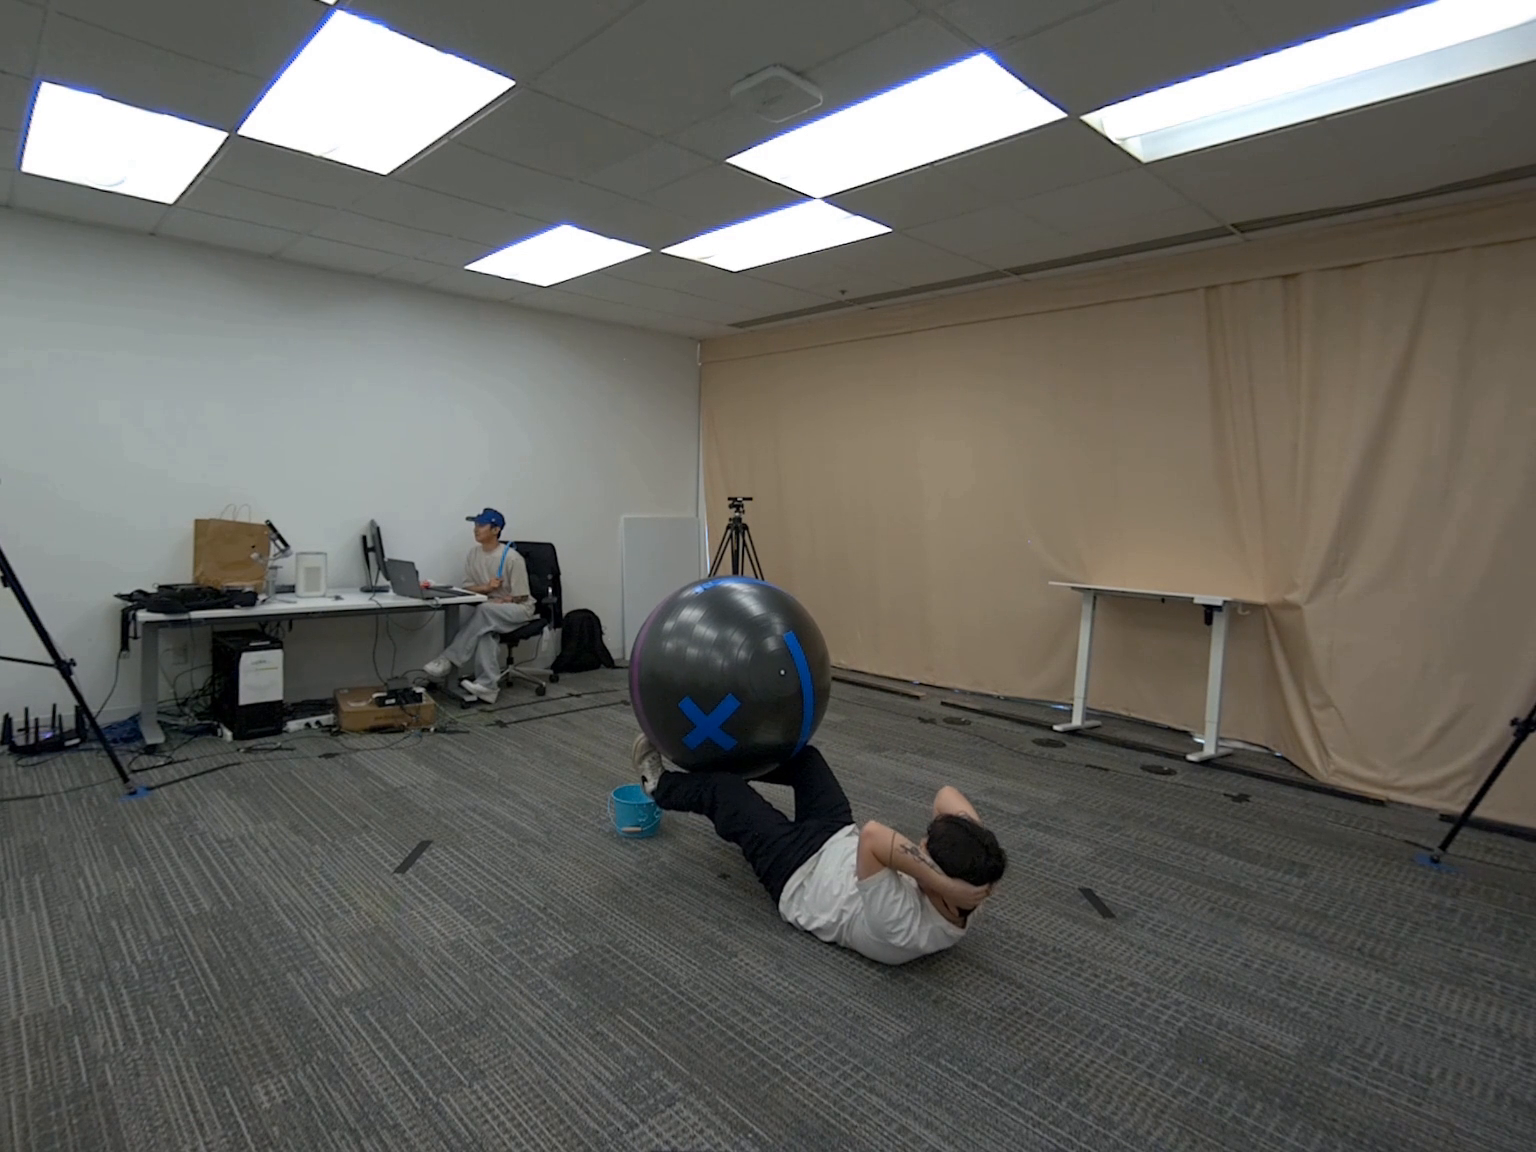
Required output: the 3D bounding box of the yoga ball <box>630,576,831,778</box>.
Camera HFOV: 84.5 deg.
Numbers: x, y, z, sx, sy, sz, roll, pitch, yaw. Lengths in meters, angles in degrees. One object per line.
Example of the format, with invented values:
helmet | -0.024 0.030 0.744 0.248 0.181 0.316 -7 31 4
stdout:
yoga ball | -0.147 0.374 3.164 0.757 0.756 0.760 1 4 -1
